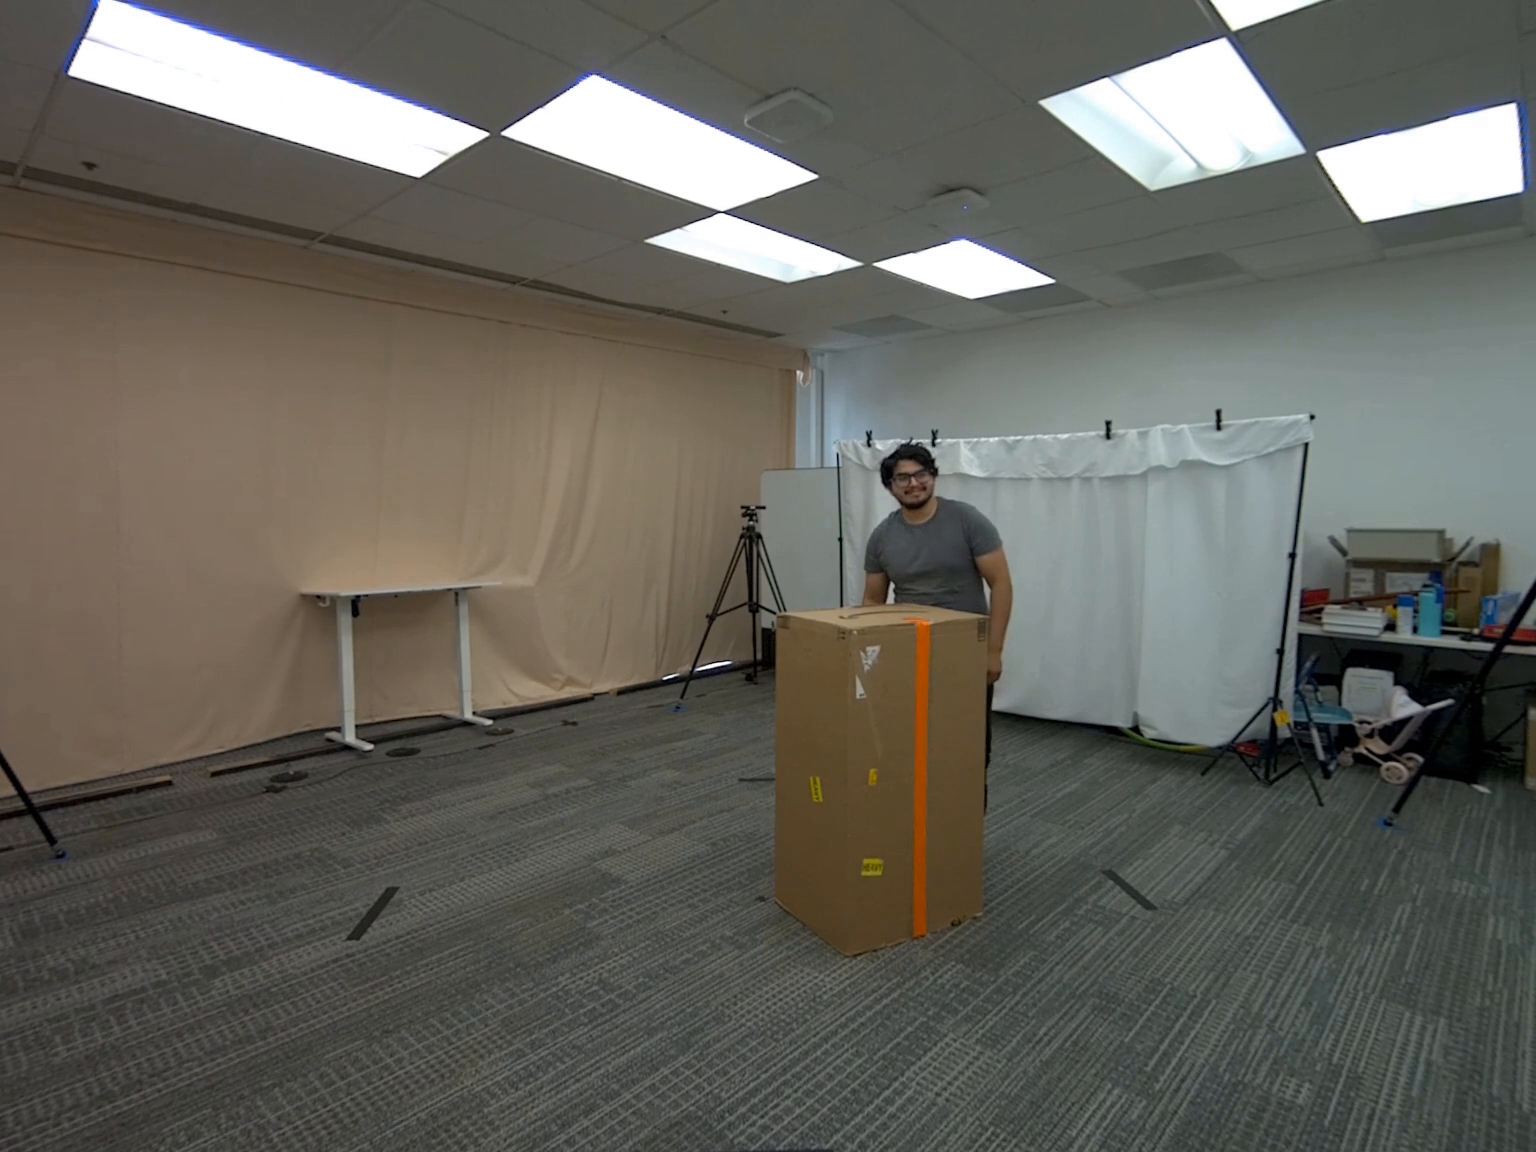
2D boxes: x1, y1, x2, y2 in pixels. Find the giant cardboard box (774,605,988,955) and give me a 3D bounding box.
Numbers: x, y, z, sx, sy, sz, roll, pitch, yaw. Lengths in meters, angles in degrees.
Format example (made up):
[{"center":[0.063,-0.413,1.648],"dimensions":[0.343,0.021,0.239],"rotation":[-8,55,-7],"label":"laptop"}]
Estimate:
[{"center":[0.380,0.644,2.876],"dimensions":[0.568,1.025,0.460],"rotation":[-2,3,-30],"label":"giant cardboard box"}]
